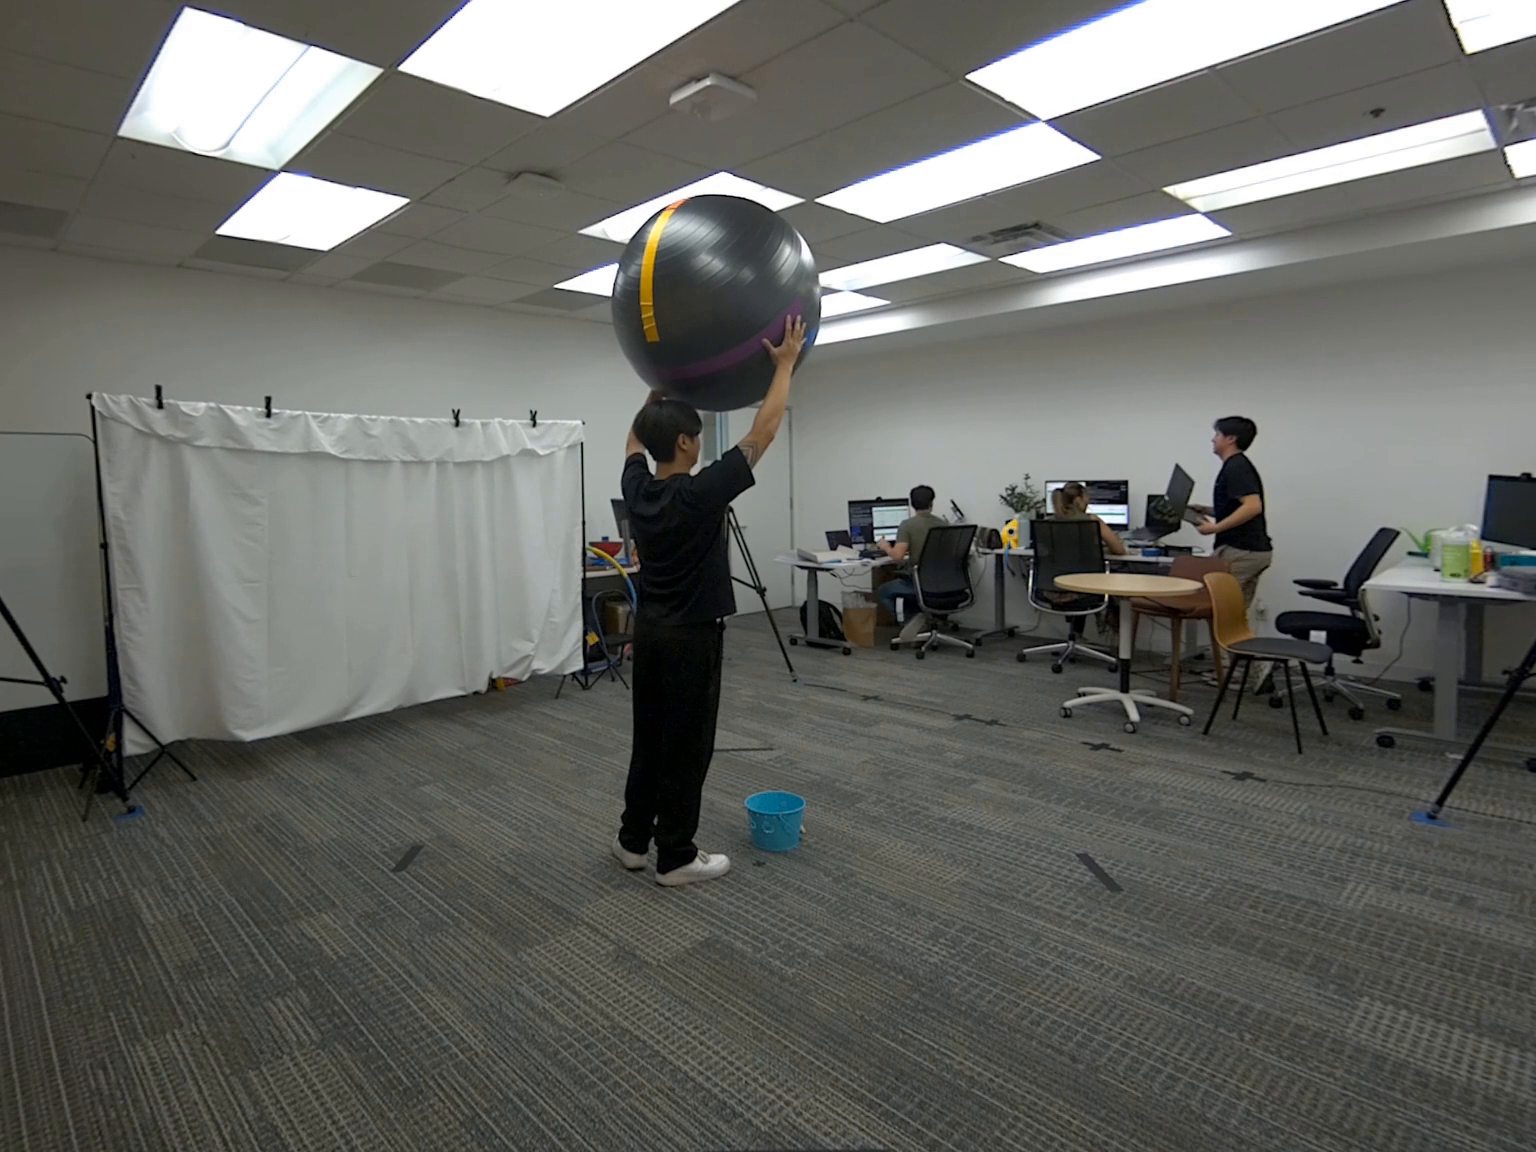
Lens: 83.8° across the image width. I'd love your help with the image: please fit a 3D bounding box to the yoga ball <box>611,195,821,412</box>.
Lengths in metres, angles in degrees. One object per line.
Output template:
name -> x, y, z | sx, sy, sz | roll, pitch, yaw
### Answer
yoga ball -> -0.184, -0.972, 3.088 | 0.757, 0.755, 0.762 | -1, 5, -2
